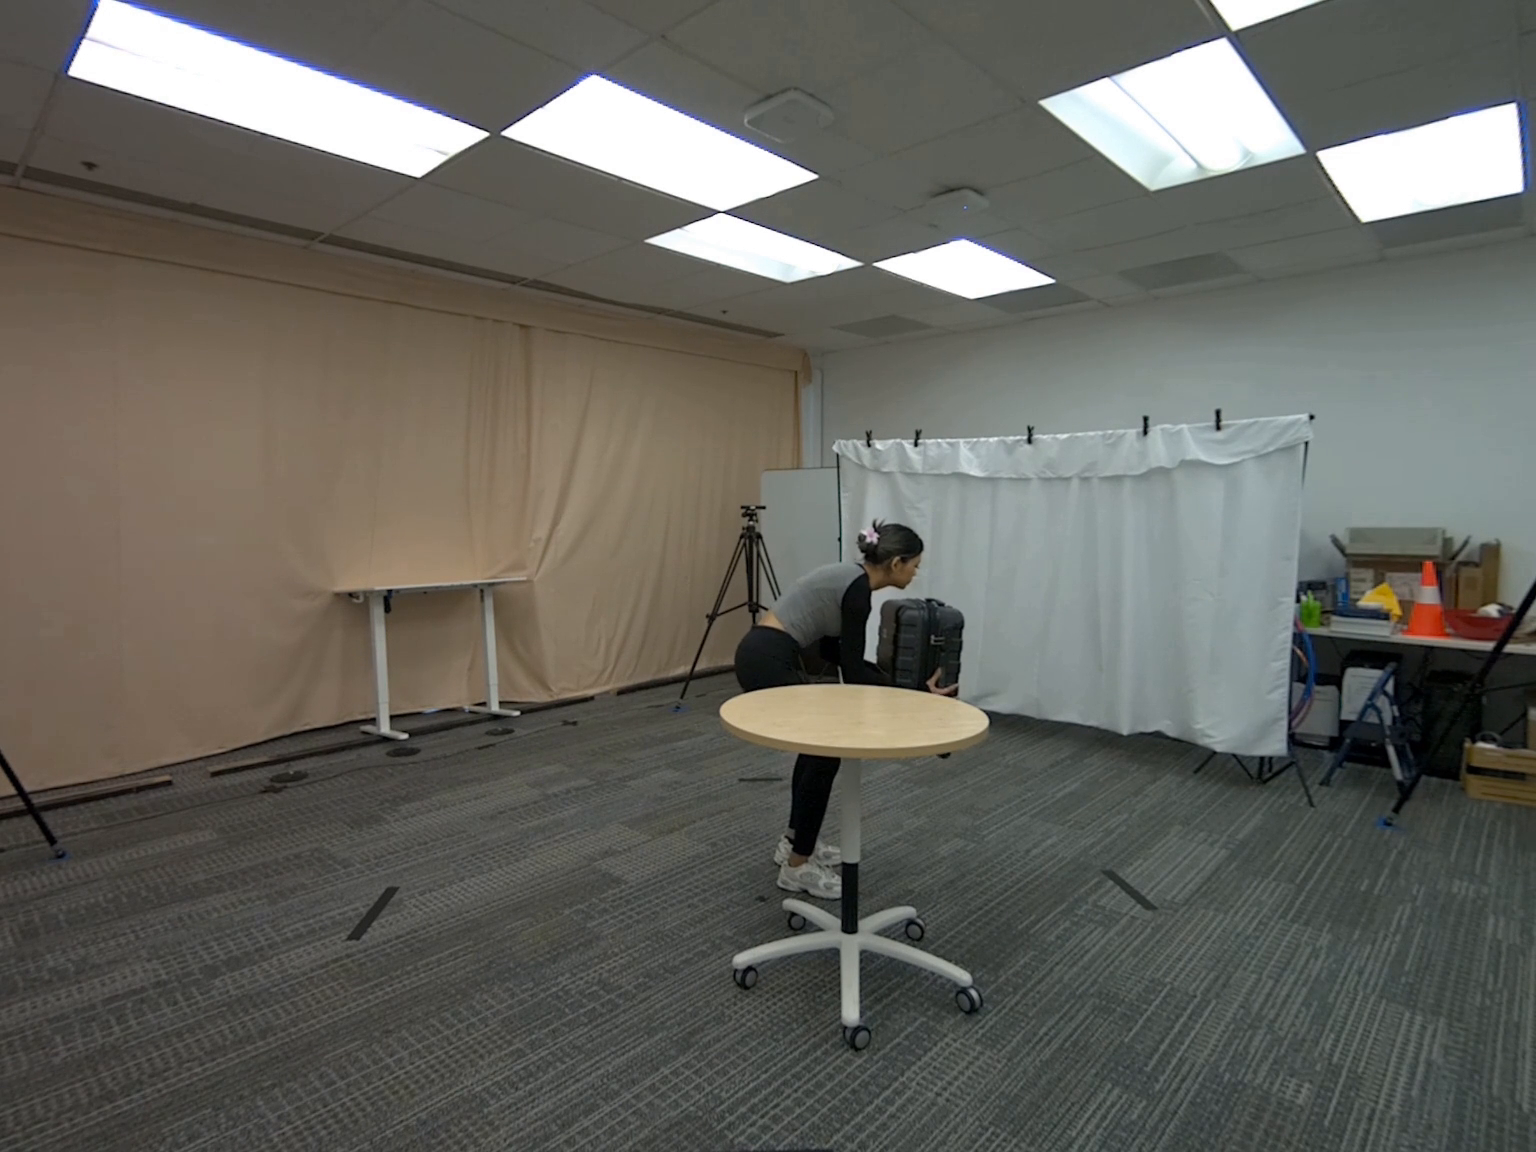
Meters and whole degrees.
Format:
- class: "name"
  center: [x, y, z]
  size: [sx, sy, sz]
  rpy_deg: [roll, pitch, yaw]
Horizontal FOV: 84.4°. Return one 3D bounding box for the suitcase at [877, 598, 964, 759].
- class: "suitcase"
  center: [0.558, 0.357, 3.163]
  size: [0.248, 0.549, 0.377]
  rpy_deg: [5, 2, -4]
